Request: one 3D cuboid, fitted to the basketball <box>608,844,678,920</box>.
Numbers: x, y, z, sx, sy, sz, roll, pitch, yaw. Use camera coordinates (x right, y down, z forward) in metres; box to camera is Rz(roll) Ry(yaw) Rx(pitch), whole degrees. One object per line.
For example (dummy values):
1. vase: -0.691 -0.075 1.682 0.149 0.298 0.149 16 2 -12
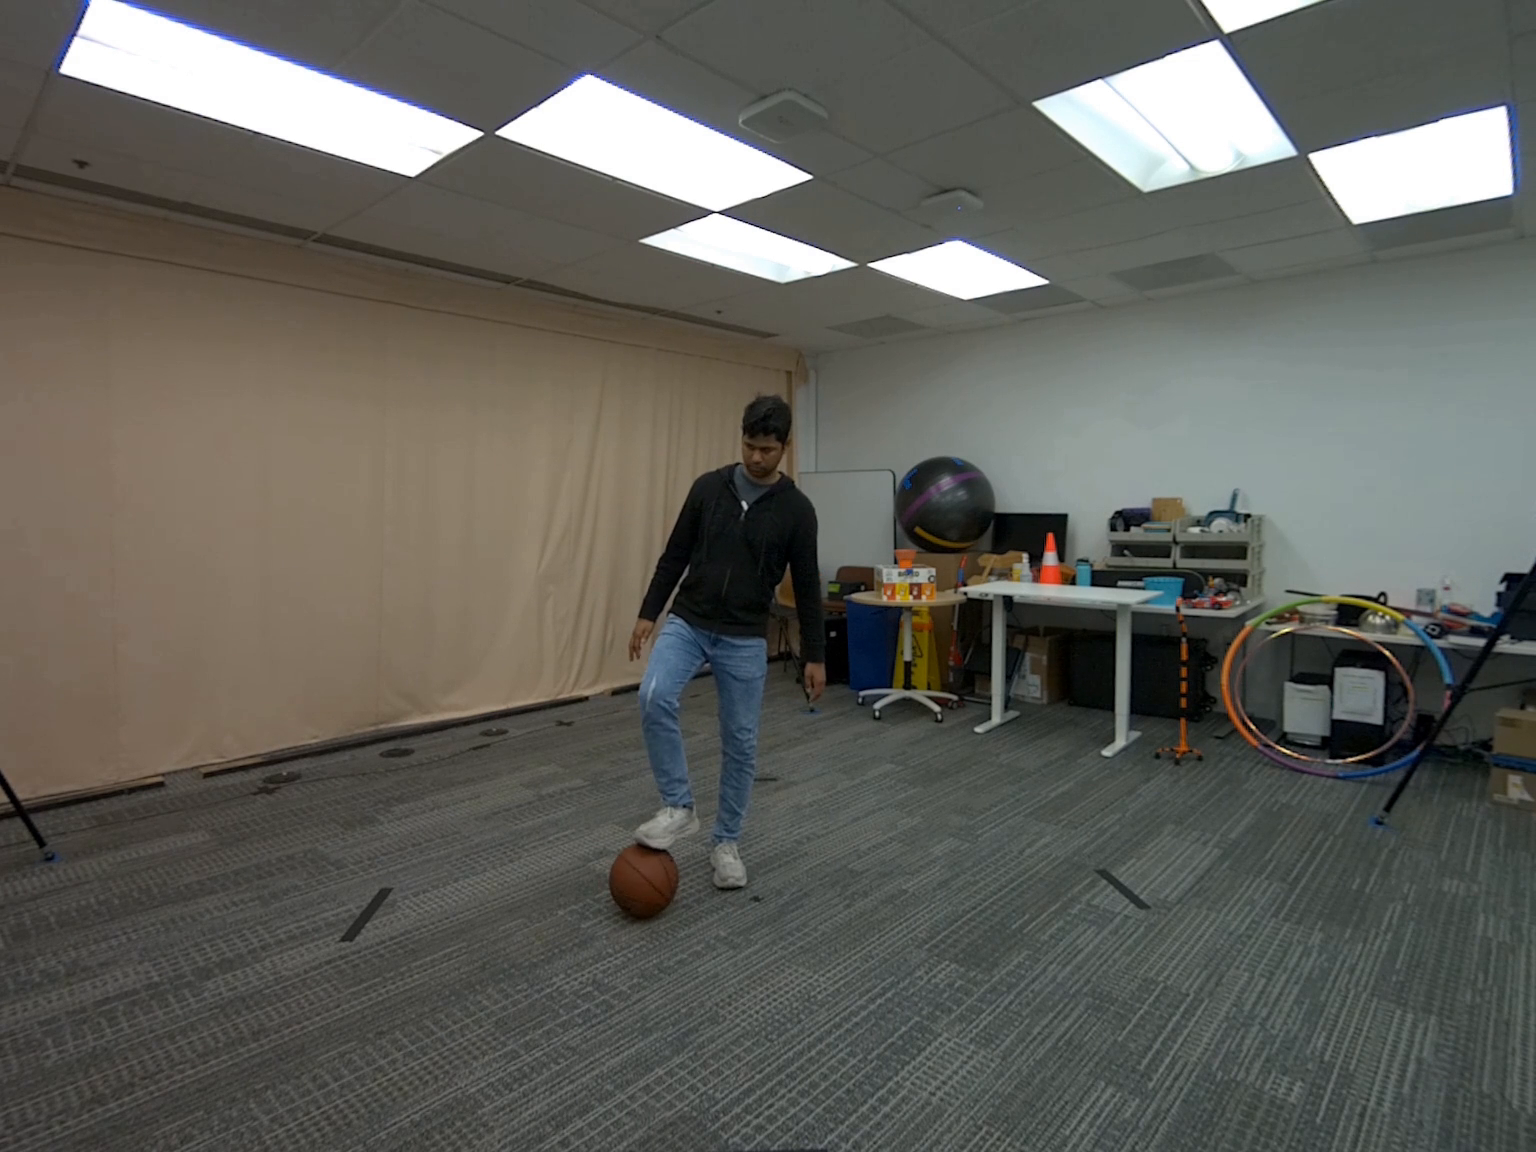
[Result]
1. basketball: -0.427 1.034 2.878 0.236 0.235 0.237 0 4 -2
